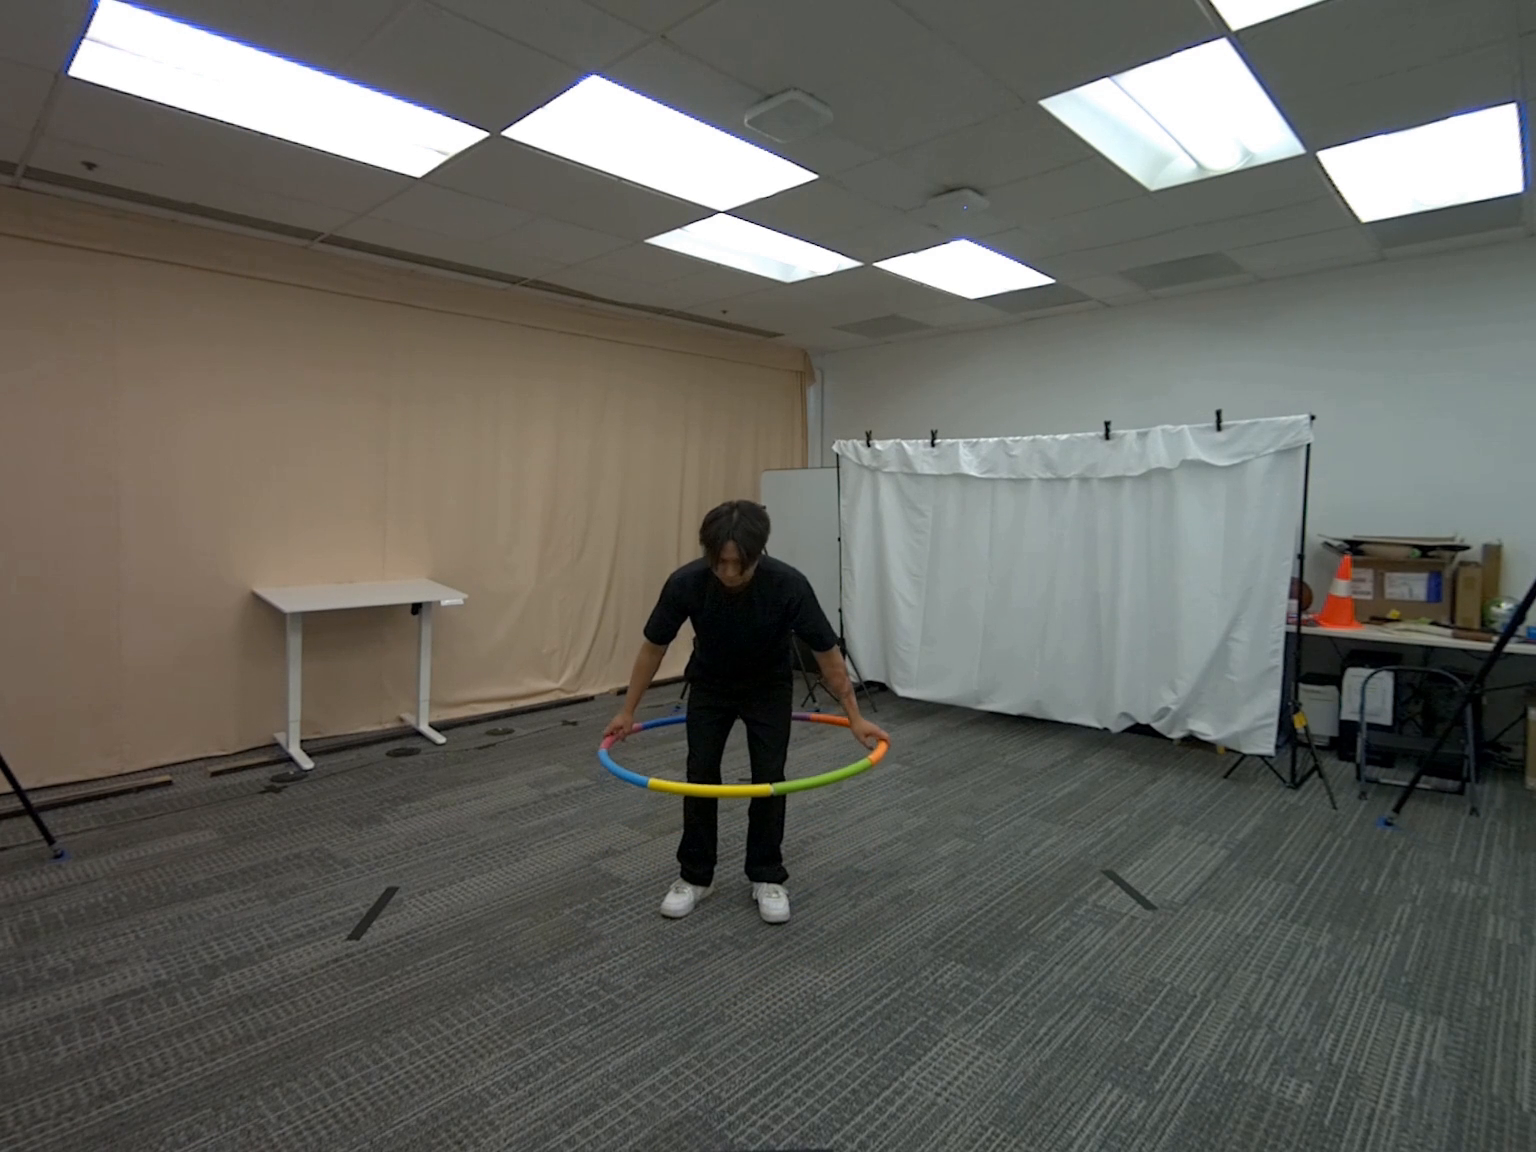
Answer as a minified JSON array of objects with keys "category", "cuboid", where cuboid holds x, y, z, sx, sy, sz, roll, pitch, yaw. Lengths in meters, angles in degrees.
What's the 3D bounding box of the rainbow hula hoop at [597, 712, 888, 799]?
[{"category":"rainbow hula hoop","cuboid":[-0.084,0.564,2.889,0.978,0.035,0.981,-2,4,-2]}]
